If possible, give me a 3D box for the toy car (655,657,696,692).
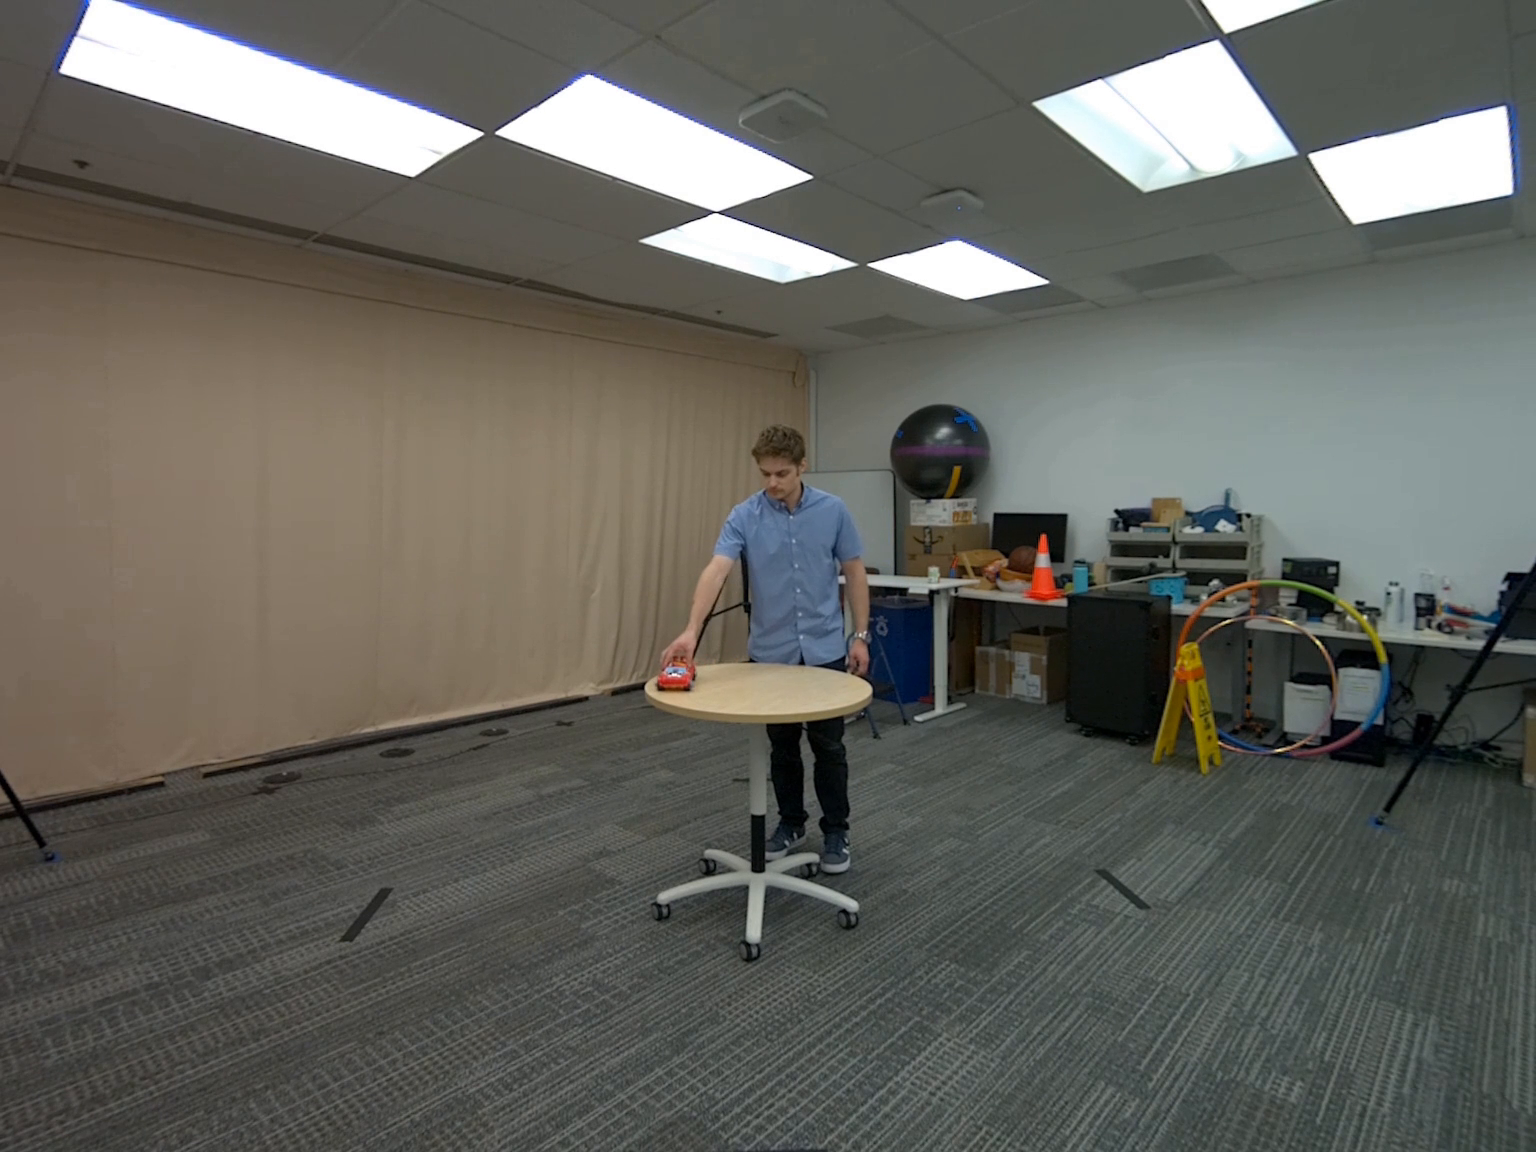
[{"bbox_3d":[-0.303,0.341,2.874,0.130,0.082,0.257,-1,17,-1],"label":"toy car"}]
